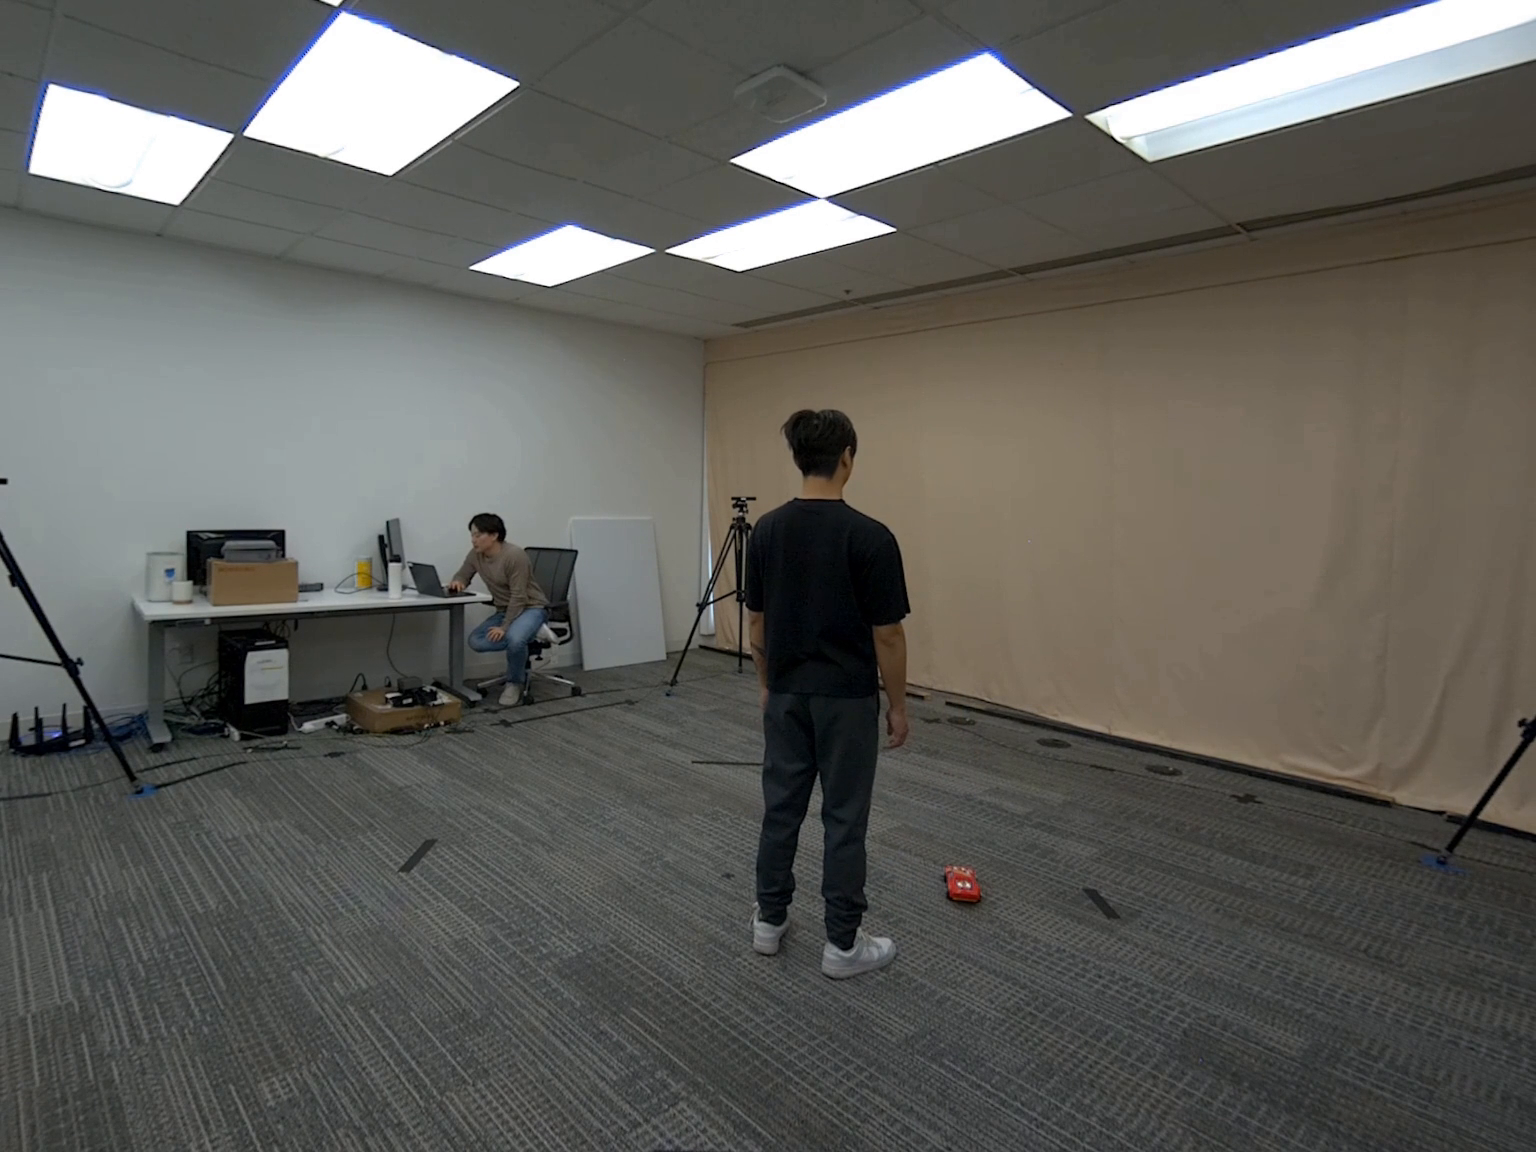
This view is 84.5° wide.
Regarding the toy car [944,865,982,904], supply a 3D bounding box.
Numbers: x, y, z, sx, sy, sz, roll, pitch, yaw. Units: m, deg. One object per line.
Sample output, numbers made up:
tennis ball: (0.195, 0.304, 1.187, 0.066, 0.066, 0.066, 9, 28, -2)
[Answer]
toy car: (0.689, 1.105, 3.013, 0.131, 0.083, 0.251, 2, -6, 8)
